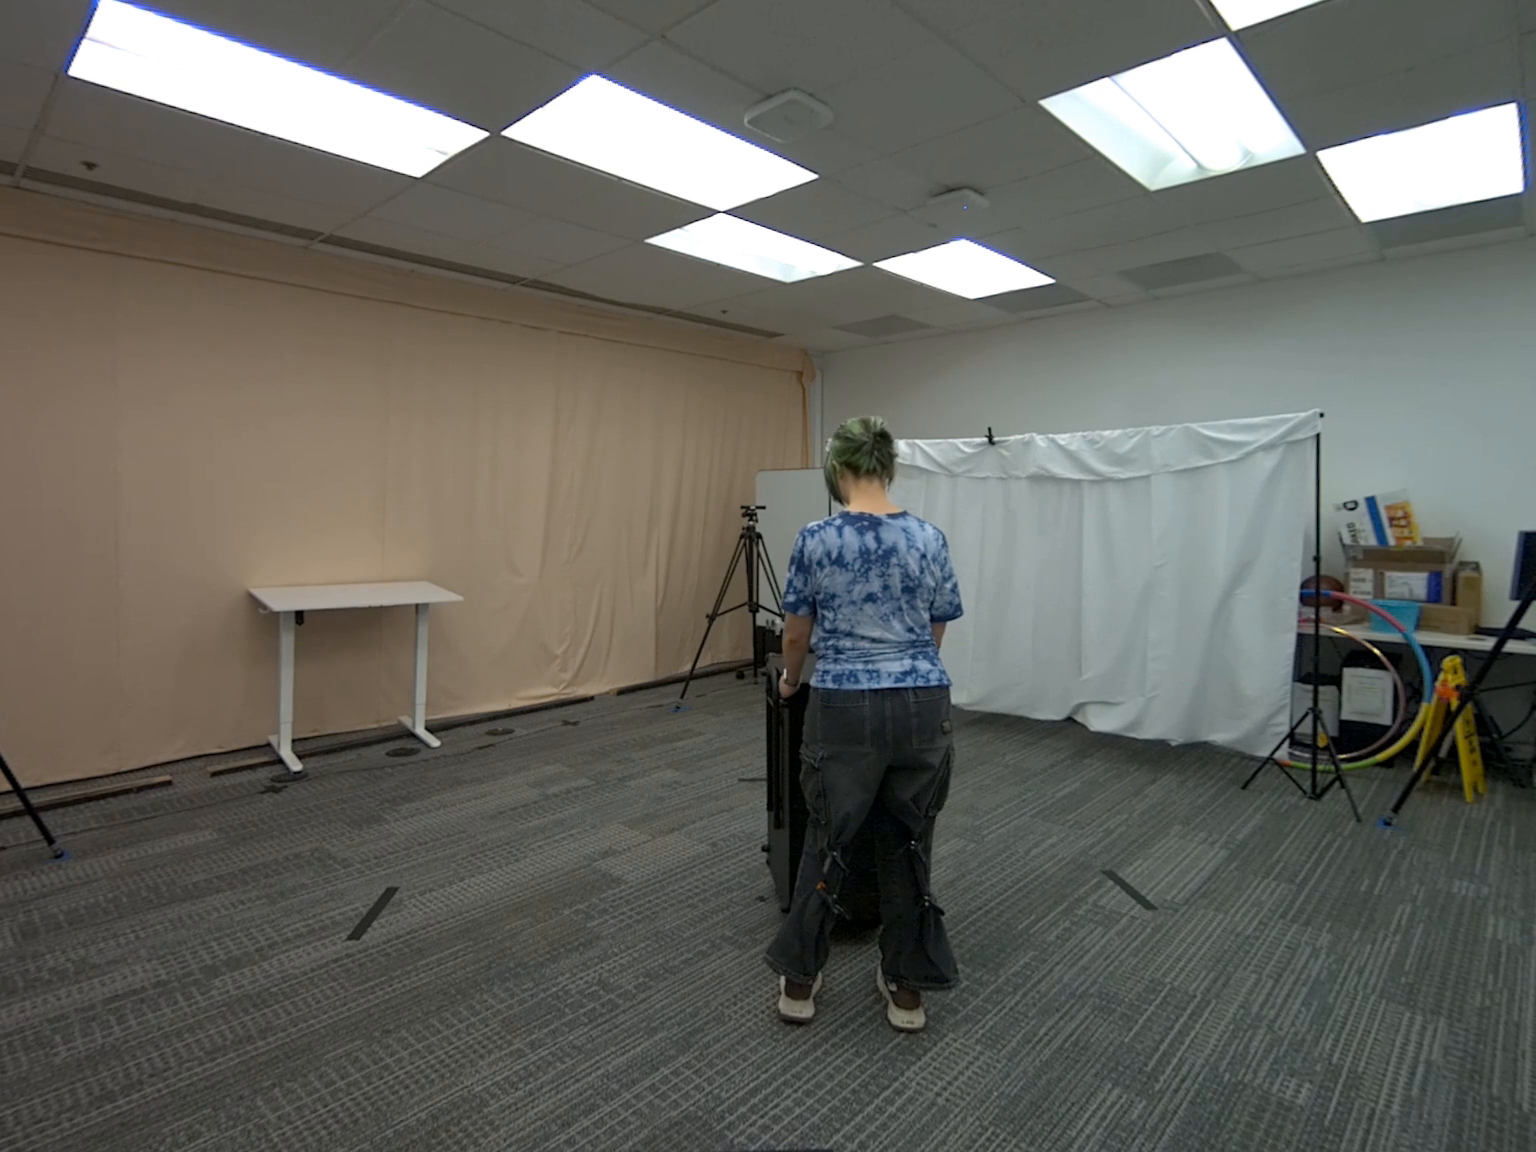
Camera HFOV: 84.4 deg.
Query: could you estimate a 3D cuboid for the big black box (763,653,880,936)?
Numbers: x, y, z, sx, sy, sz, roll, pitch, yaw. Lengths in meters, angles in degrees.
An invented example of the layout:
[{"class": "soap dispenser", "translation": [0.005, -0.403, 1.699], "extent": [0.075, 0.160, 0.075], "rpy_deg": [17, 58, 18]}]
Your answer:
[{"class": "big black box", "translation": [0.194, 0.735, 2.855], "extent": [0.394, 0.859, 0.525], "rpy_deg": [-1, 4, -6]}]
